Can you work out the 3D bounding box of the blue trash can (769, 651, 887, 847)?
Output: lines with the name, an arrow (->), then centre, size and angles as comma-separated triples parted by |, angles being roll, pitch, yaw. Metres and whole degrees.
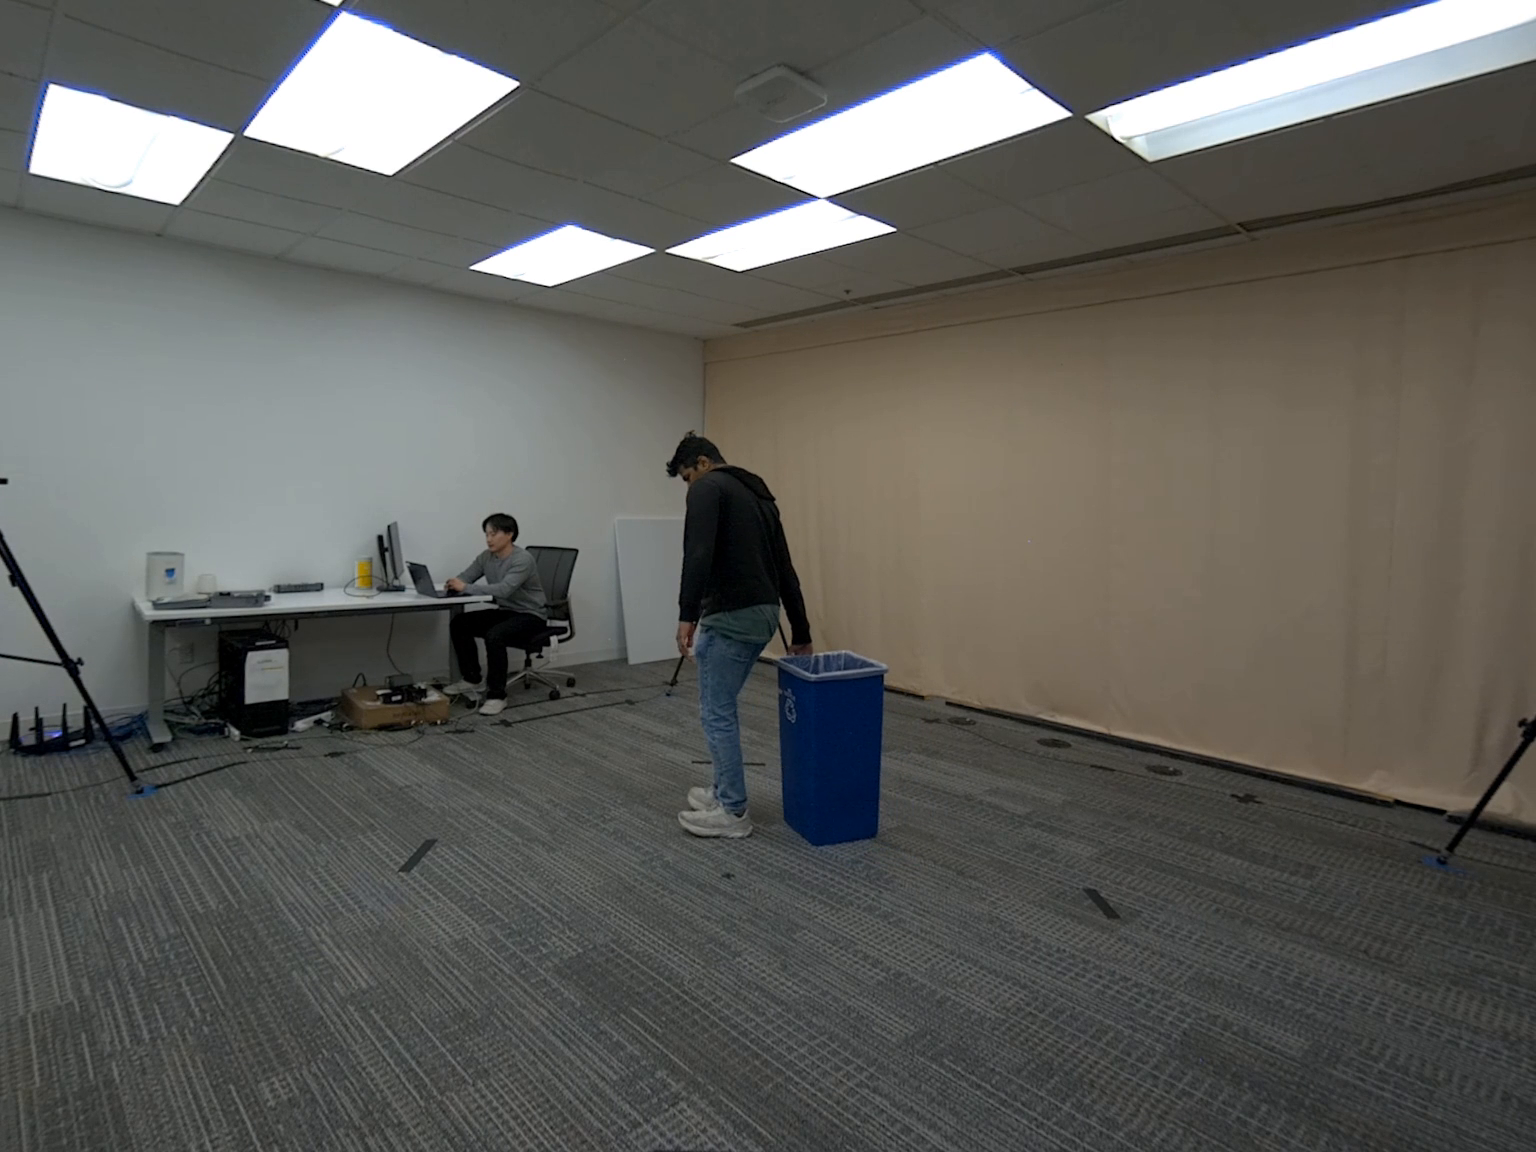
blue trash can -> 0.243, 0.713, 3.544 | 0.368, 0.711, 0.386 | -2, 5, -24
